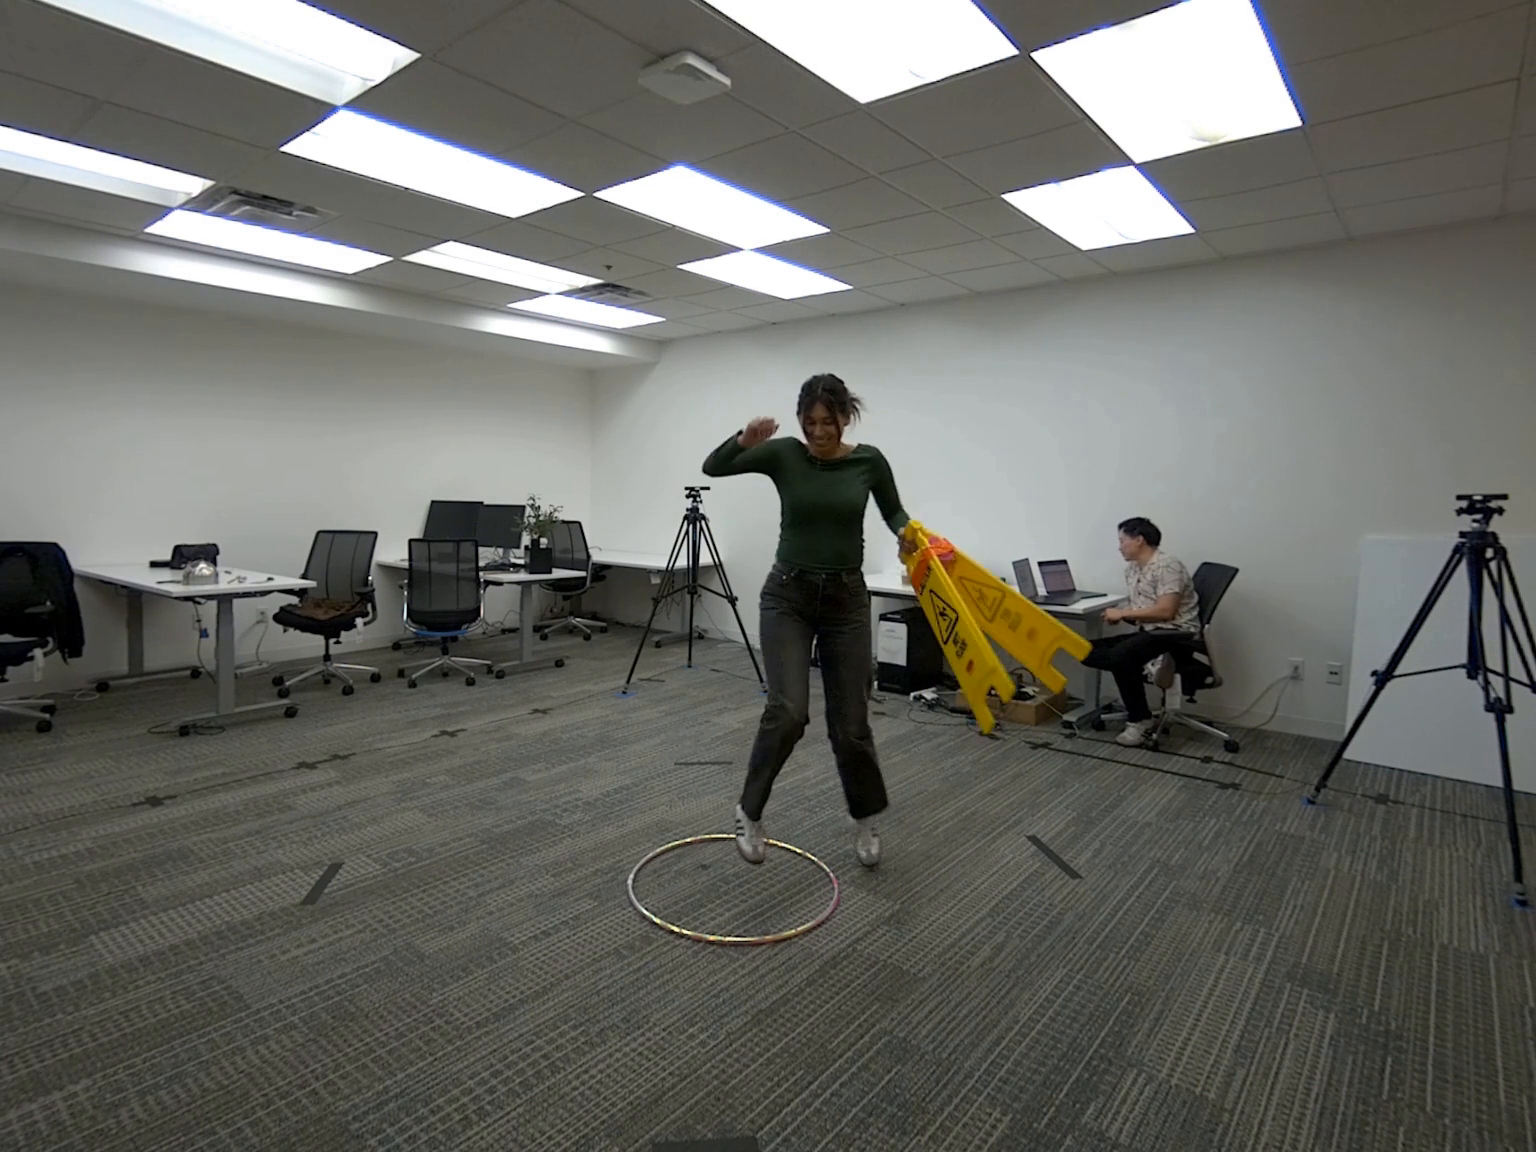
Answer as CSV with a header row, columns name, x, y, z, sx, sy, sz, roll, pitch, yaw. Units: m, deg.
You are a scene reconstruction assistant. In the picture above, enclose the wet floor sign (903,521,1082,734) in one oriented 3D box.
name,x,y,z,sx,sy,sz,roll,pitch,yaw
wet floor sign,0.576,0.138,2.656,0.286,0.670,0.275,-23,-33,-20
